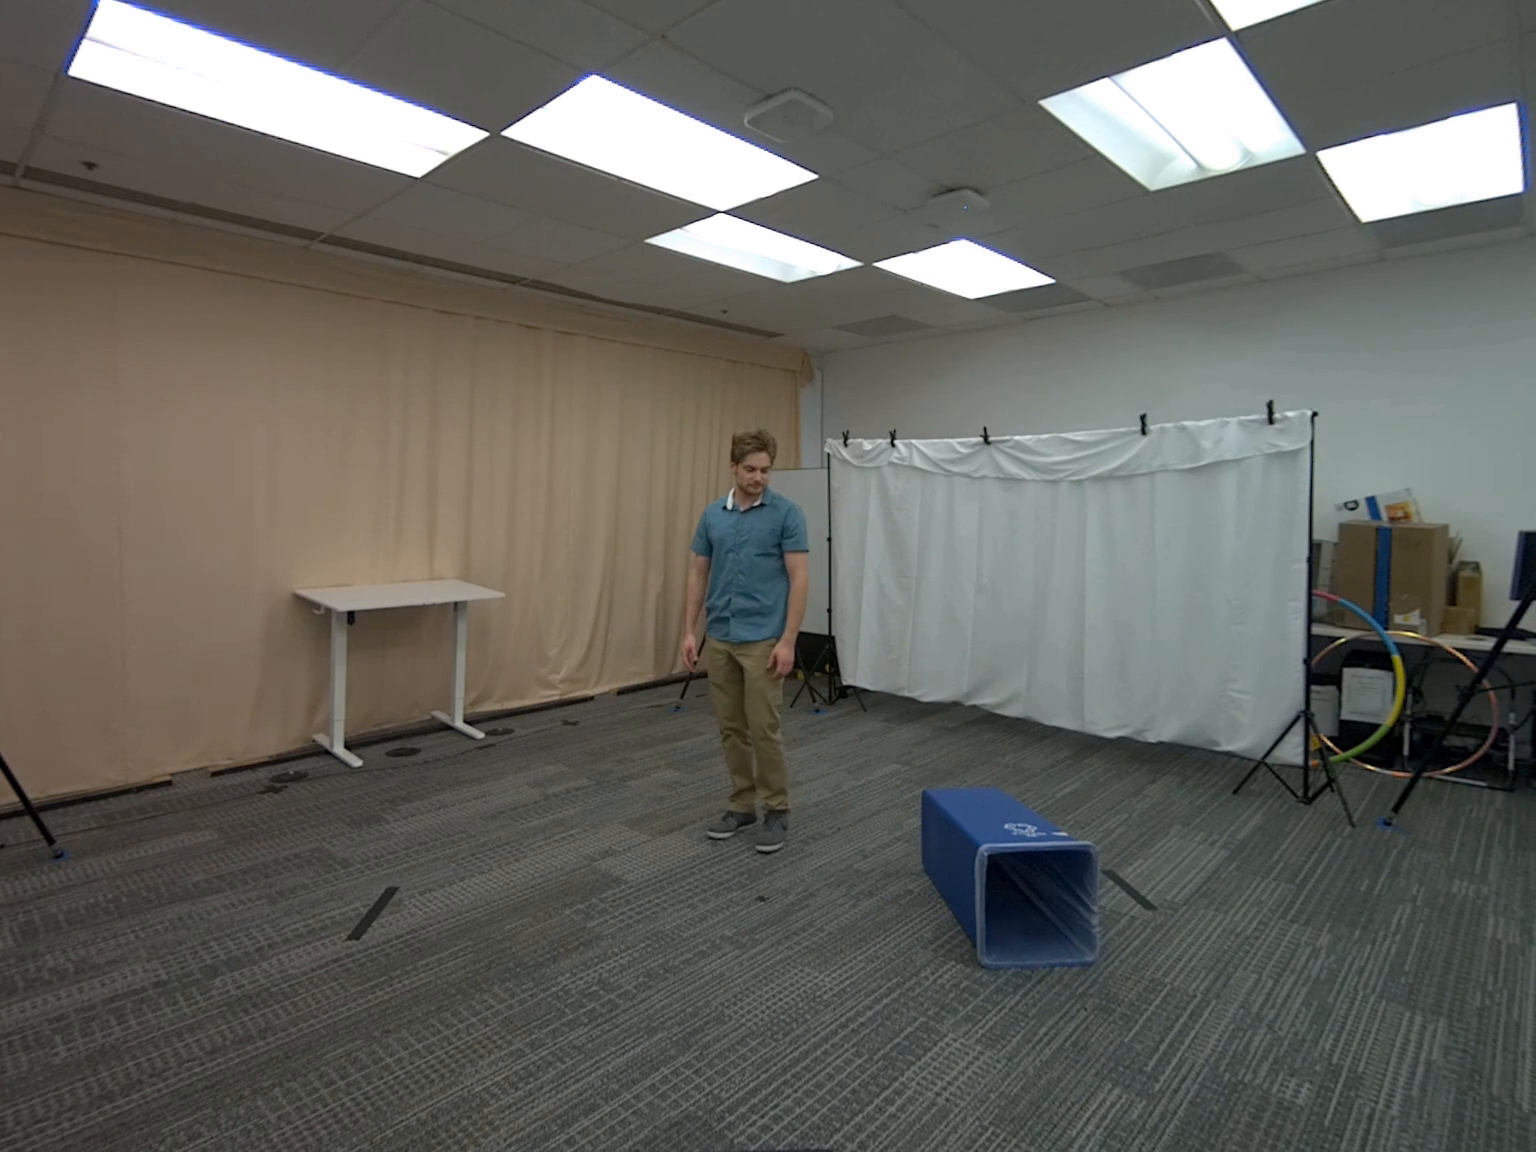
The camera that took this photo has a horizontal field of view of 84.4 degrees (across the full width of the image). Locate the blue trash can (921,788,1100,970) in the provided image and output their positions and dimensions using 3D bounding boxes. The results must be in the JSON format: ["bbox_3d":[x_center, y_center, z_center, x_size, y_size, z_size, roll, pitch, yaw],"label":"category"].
[{"bbox_3d":[0.780,0.983,2.881,0.372,0.378,0.718,-1,2,-6],"label":"blue trash can"}]
